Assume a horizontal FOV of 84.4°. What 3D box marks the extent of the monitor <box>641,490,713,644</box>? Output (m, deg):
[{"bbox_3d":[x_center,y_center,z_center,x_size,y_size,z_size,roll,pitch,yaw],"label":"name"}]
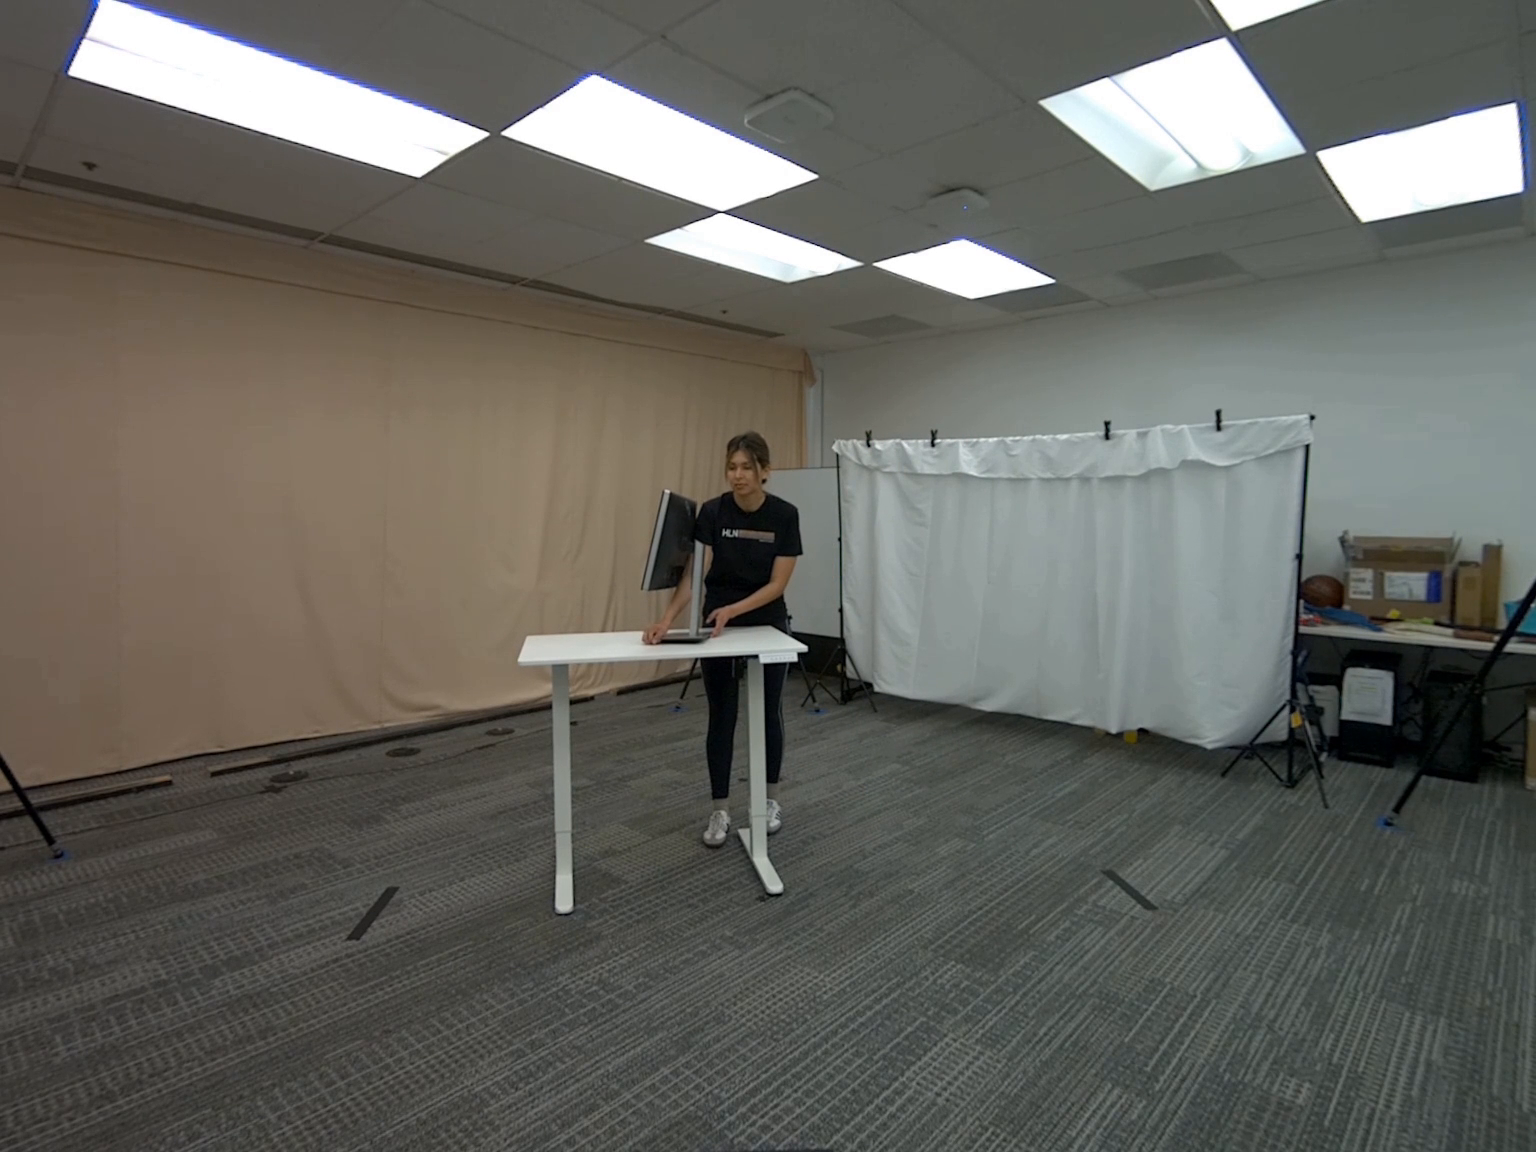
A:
[{"bbox_3d":[-0.335,-0.026,3.207,0.189,0.523,0.534,2,0,6],"label":"monitor"}]
